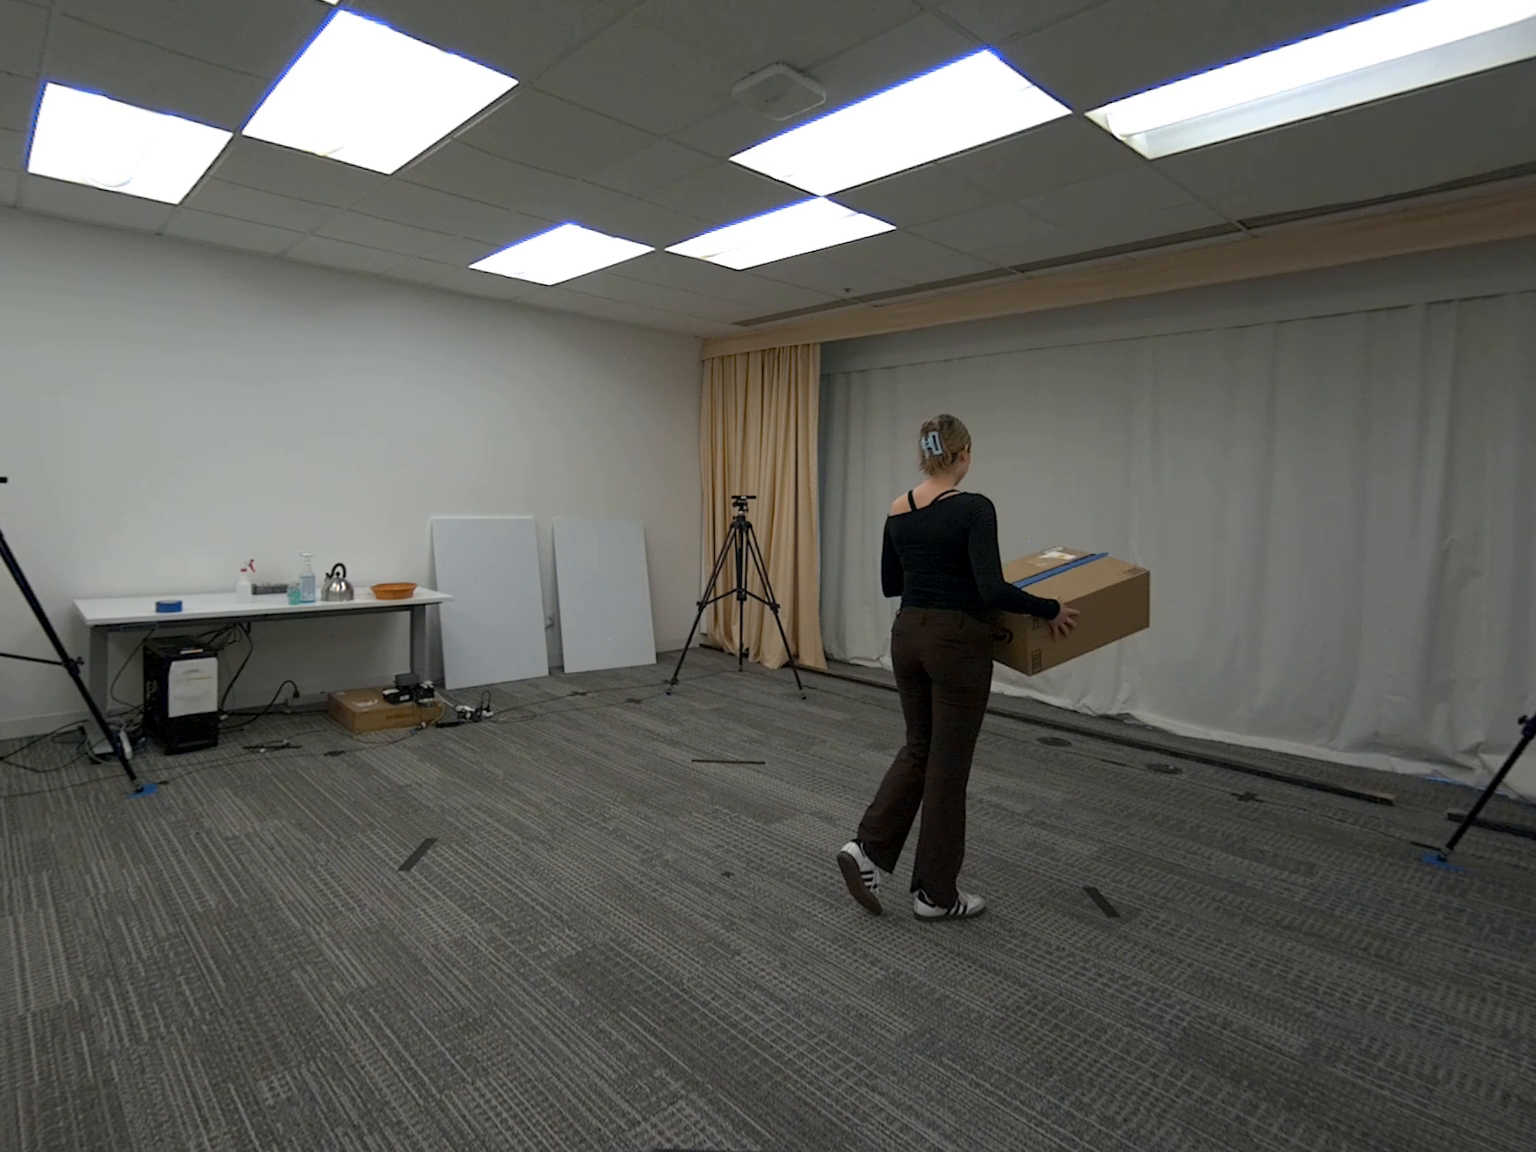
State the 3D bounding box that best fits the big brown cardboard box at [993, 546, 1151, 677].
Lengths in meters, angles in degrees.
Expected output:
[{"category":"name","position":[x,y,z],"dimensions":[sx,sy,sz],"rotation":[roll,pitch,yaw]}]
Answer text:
[{"category":"big brown cardboard box","position":[0.965,0.103,2.965],"dimensions":[0.582,0.229,0.429],"rotation":[-18,22,-24]}]
